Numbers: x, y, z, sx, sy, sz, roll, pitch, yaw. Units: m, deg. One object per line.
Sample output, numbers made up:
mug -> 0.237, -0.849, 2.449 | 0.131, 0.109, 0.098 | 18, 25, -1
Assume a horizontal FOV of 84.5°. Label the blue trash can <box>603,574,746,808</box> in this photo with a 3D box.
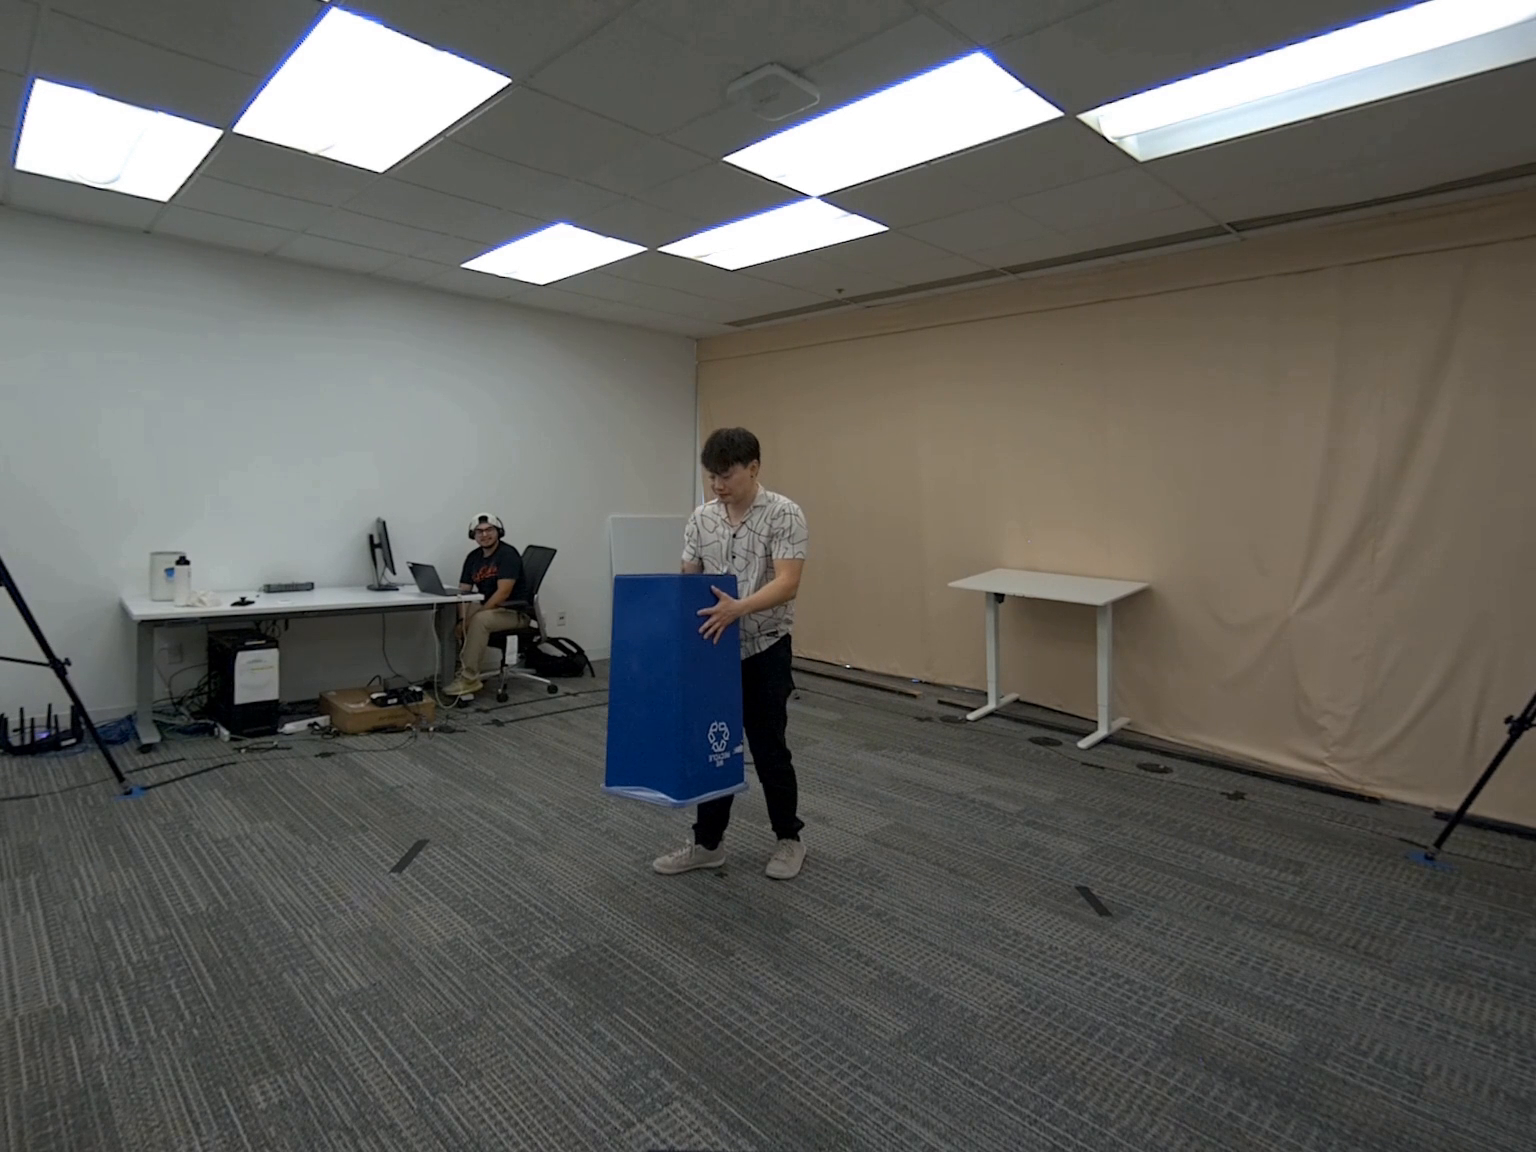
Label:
blue trash can -> -0.312, 0.355, 2.789 | 0.382, 0.715, 0.369 | -3, -3, 38
